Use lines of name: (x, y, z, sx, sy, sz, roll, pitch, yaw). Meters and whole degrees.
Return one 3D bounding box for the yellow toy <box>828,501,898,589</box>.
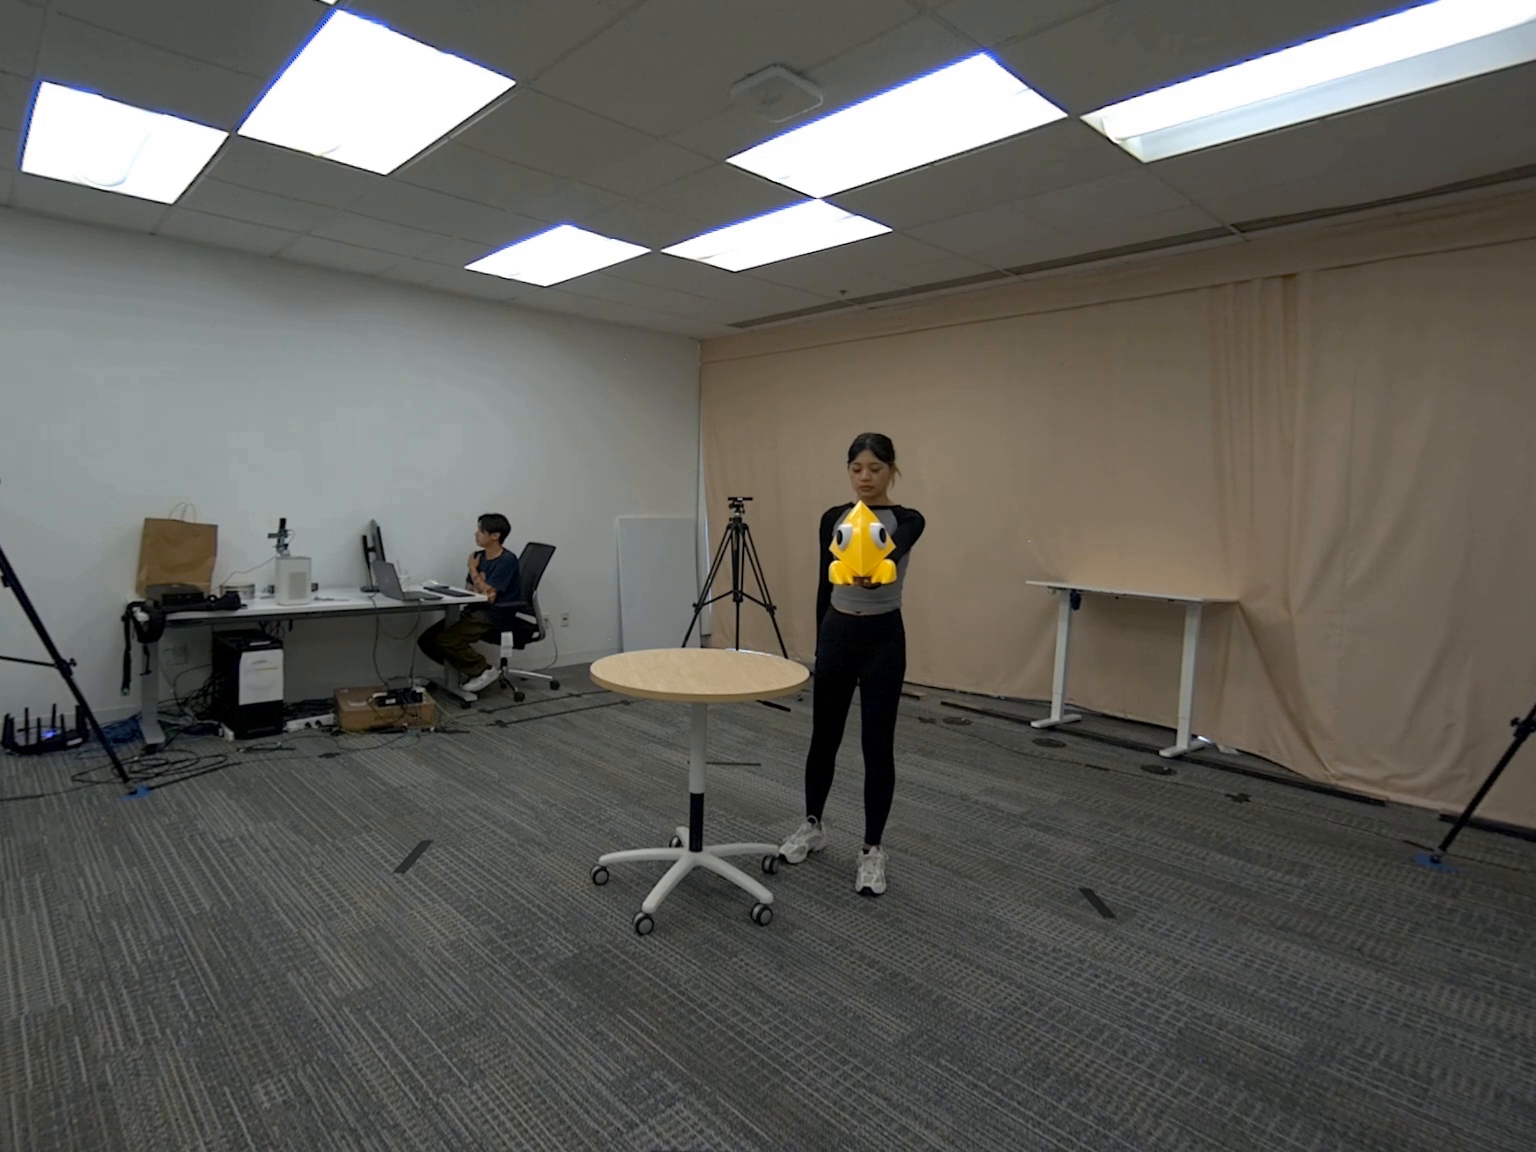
yellow toy: (0.272, -0.106, 2.529, 0.206, 0.229, 0.193, -2, 8, 9)
